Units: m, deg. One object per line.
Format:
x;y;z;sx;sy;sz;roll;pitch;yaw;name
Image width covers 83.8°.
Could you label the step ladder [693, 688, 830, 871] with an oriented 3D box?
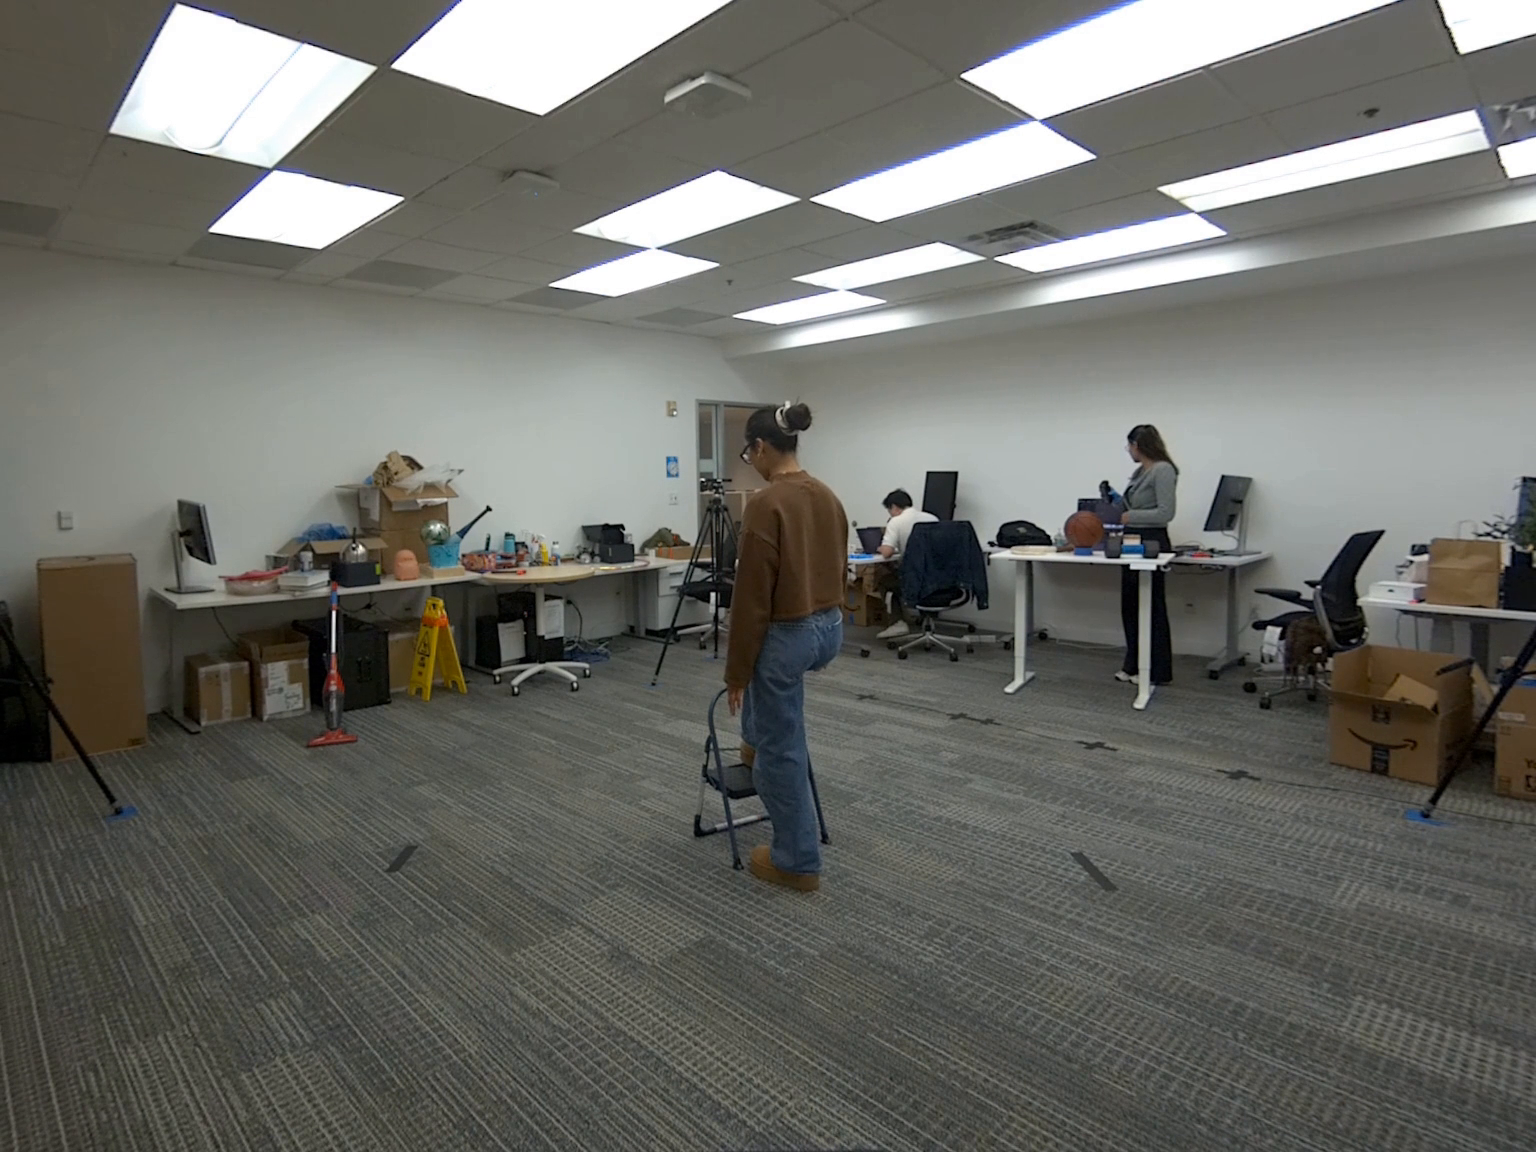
-0.029;0.721;3.290;0.420;0.604;0.359;-4;5;-33;step ladder
